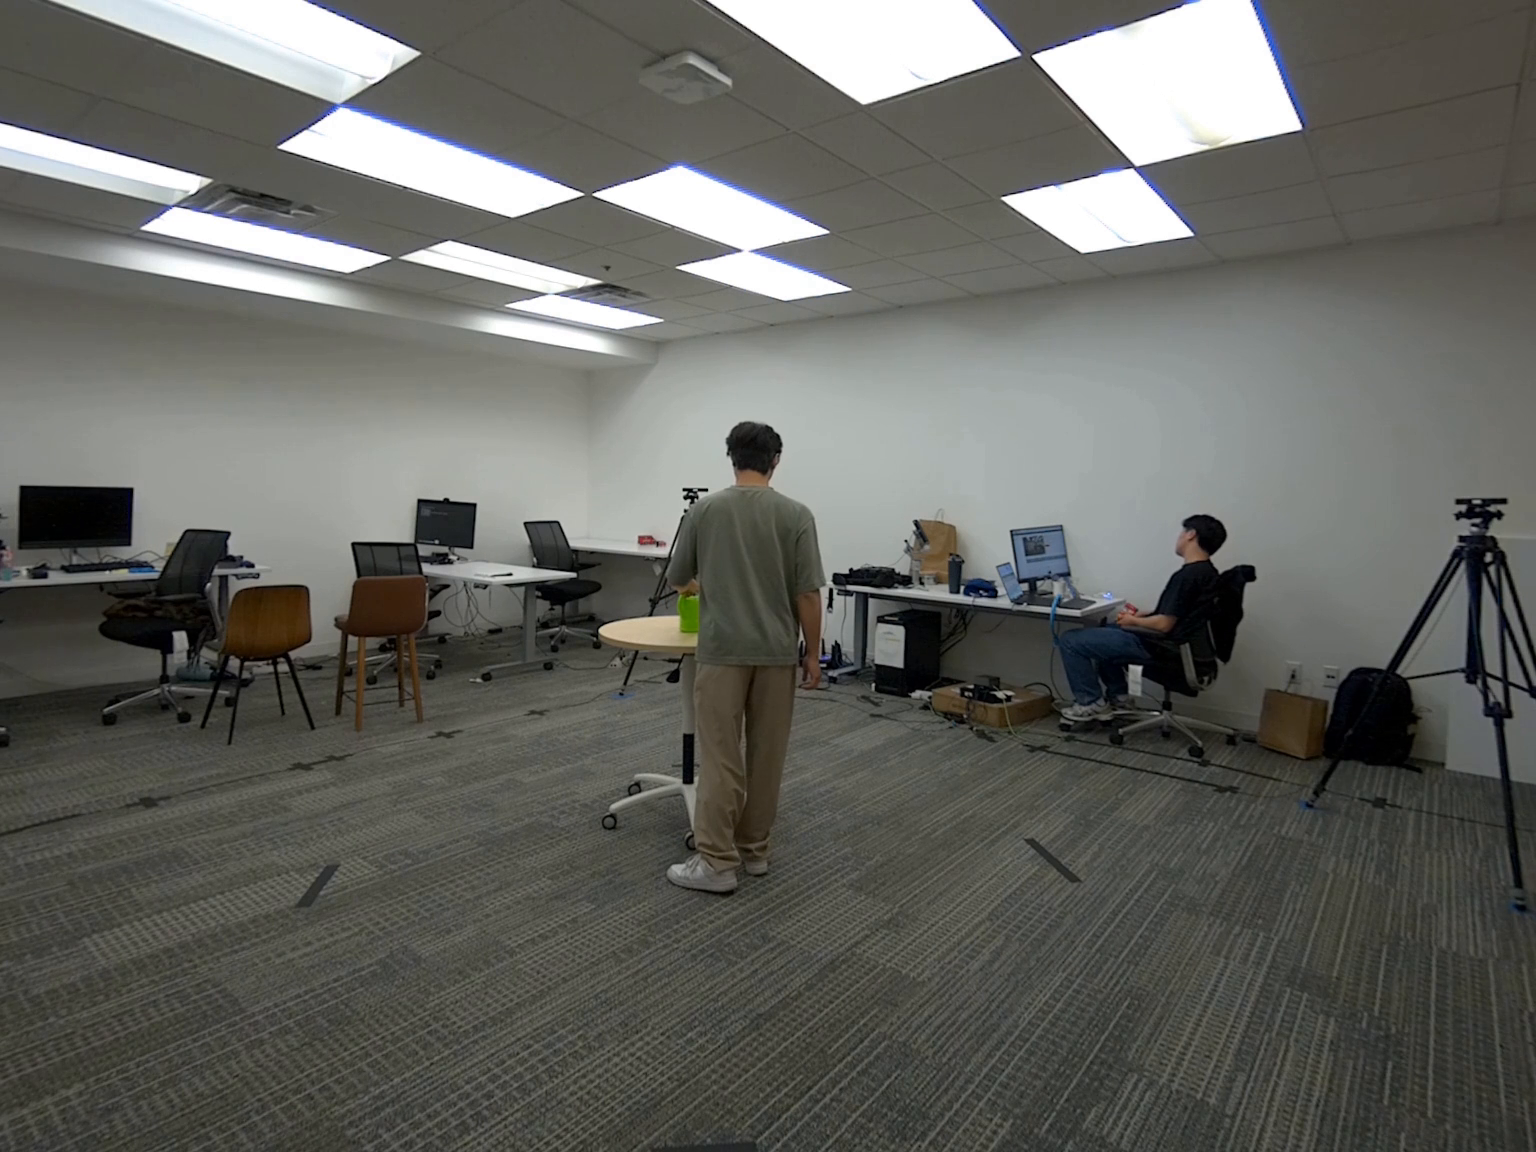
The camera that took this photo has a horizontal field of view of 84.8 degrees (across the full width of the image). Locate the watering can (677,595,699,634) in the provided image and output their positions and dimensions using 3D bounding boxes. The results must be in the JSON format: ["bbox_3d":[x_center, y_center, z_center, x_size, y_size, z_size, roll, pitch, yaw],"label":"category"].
[{"bbox_3d":[-0.291,0.138,3.588,0.270,0.176,0.101,-4,6,-38],"label":"watering can"}]
